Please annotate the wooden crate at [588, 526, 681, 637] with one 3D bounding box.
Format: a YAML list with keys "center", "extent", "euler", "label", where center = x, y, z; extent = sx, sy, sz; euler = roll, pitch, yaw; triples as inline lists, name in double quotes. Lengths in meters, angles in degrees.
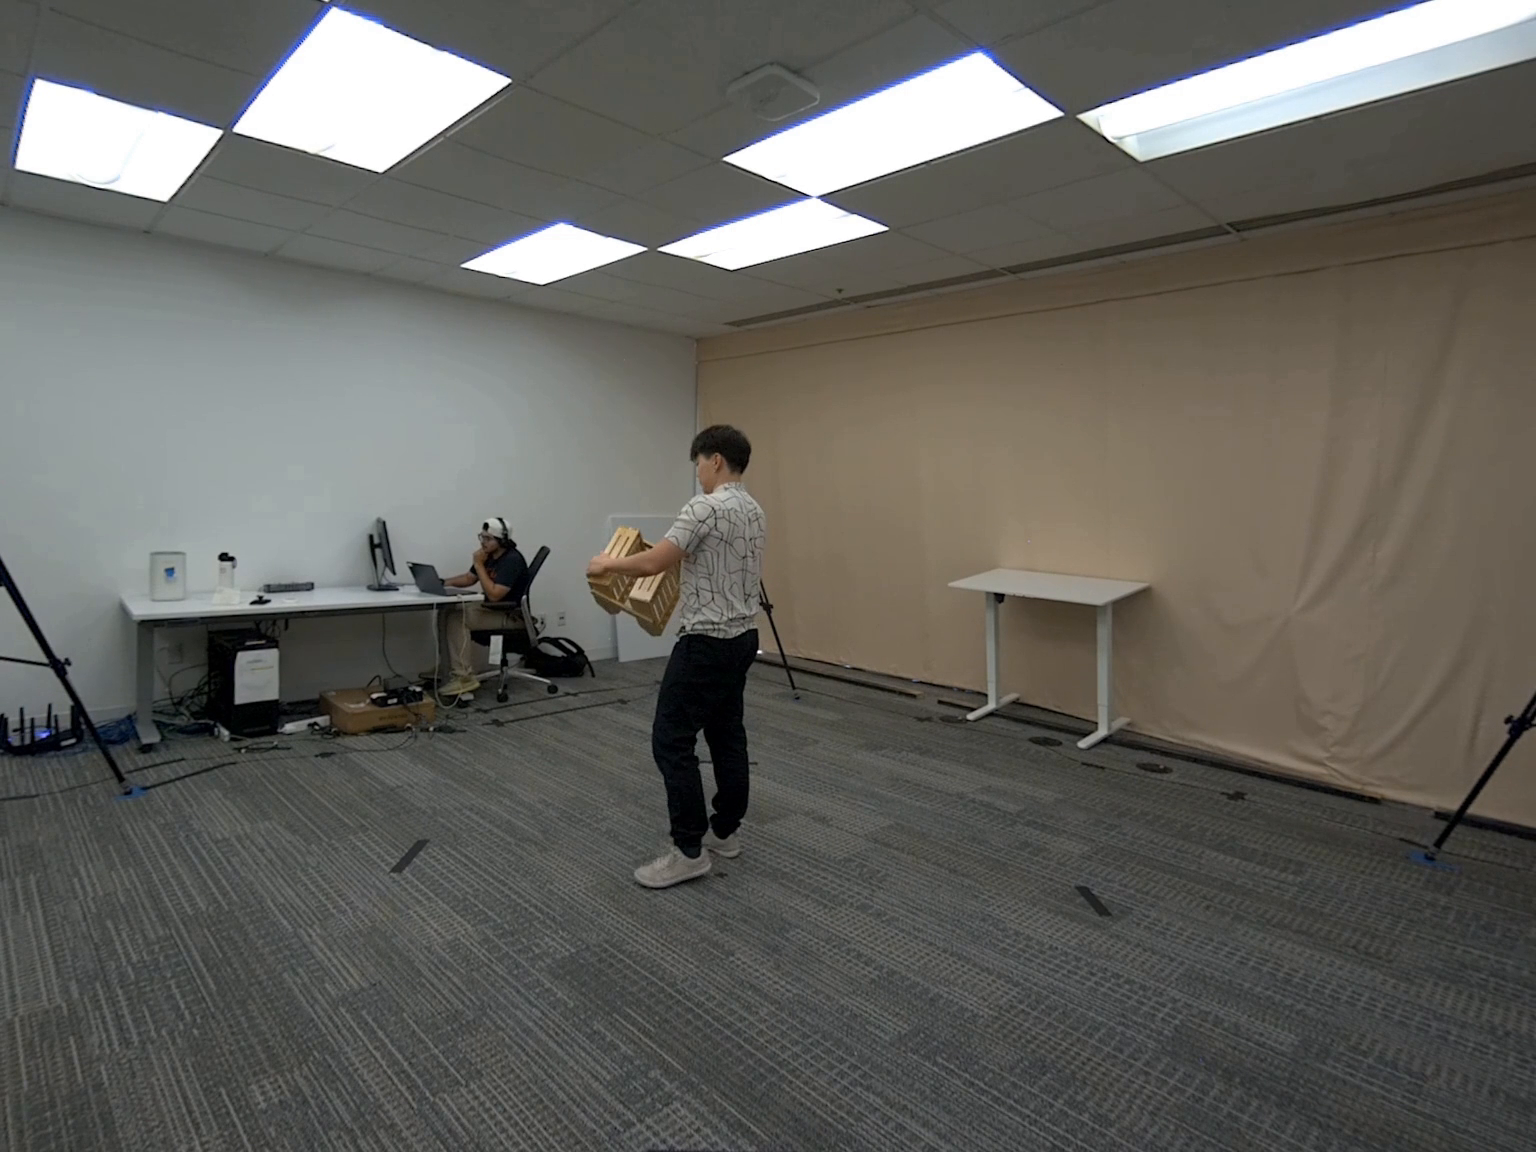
- center: [-0.527, 0.026, 3.449]
  extent: [0.278, 0.327, 0.294]
  euler: [11, -37, 17]
  label: "wooden crate"
